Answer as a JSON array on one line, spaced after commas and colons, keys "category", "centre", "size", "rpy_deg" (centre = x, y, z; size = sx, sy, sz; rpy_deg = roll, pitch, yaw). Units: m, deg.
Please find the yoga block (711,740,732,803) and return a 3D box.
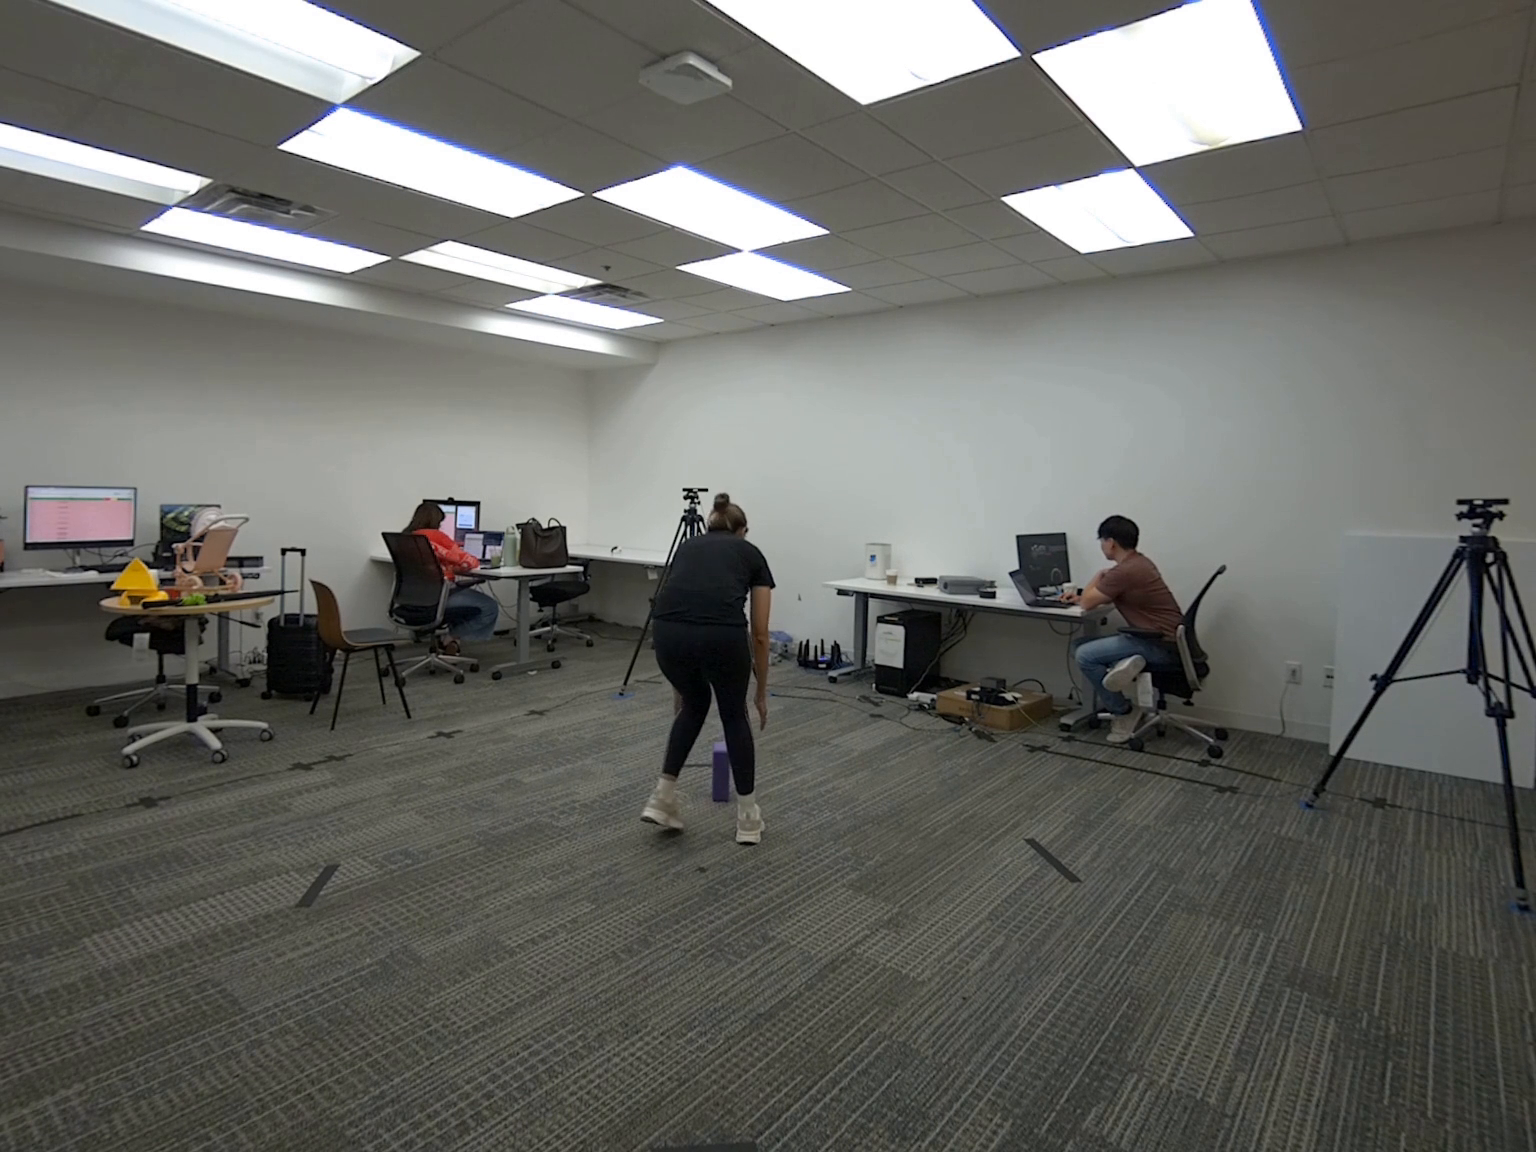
[{"category": "yoga block", "centre": [-0.224, 0.883, 3.859], "size": [0.076, 0.228, 0.149], "rpy_deg": [0, 4, -1]}]
